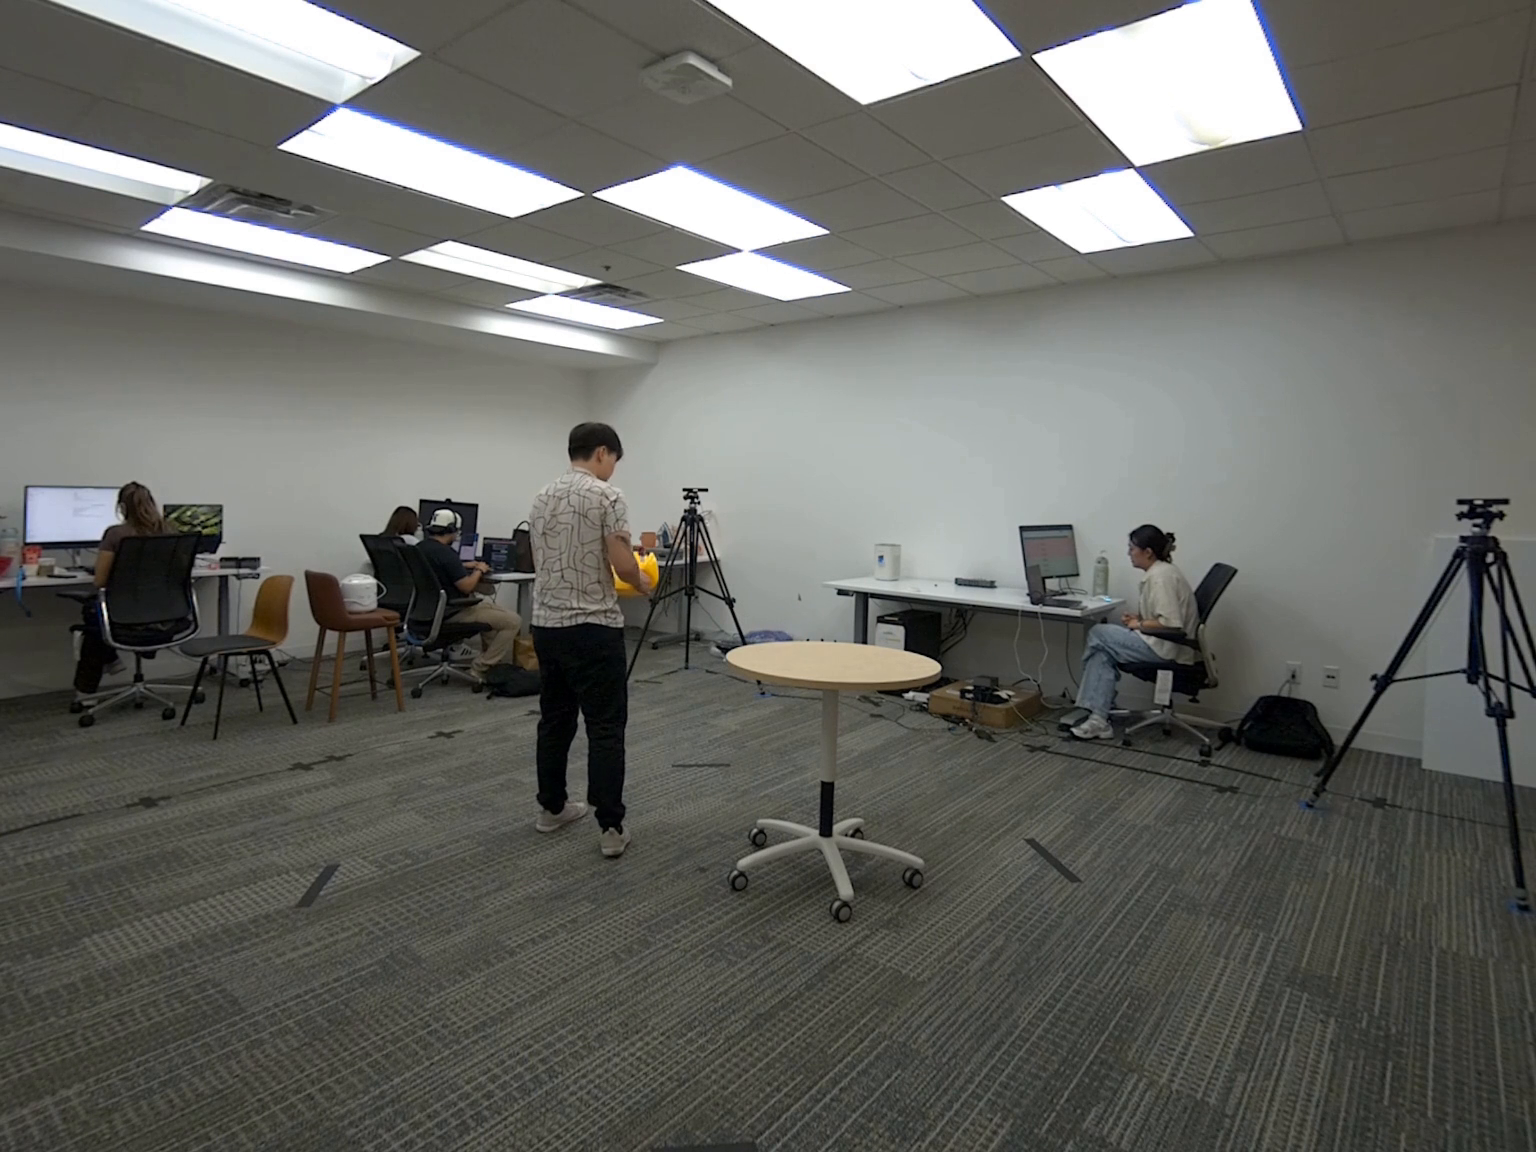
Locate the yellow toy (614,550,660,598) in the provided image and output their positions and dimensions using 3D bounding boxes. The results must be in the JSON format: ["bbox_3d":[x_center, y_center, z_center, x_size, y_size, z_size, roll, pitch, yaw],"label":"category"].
[{"bbox_3d":[-0.625,-0.009,3.578,0.211,0.193,0.223,-1,0,38],"label":"yellow toy"}]
